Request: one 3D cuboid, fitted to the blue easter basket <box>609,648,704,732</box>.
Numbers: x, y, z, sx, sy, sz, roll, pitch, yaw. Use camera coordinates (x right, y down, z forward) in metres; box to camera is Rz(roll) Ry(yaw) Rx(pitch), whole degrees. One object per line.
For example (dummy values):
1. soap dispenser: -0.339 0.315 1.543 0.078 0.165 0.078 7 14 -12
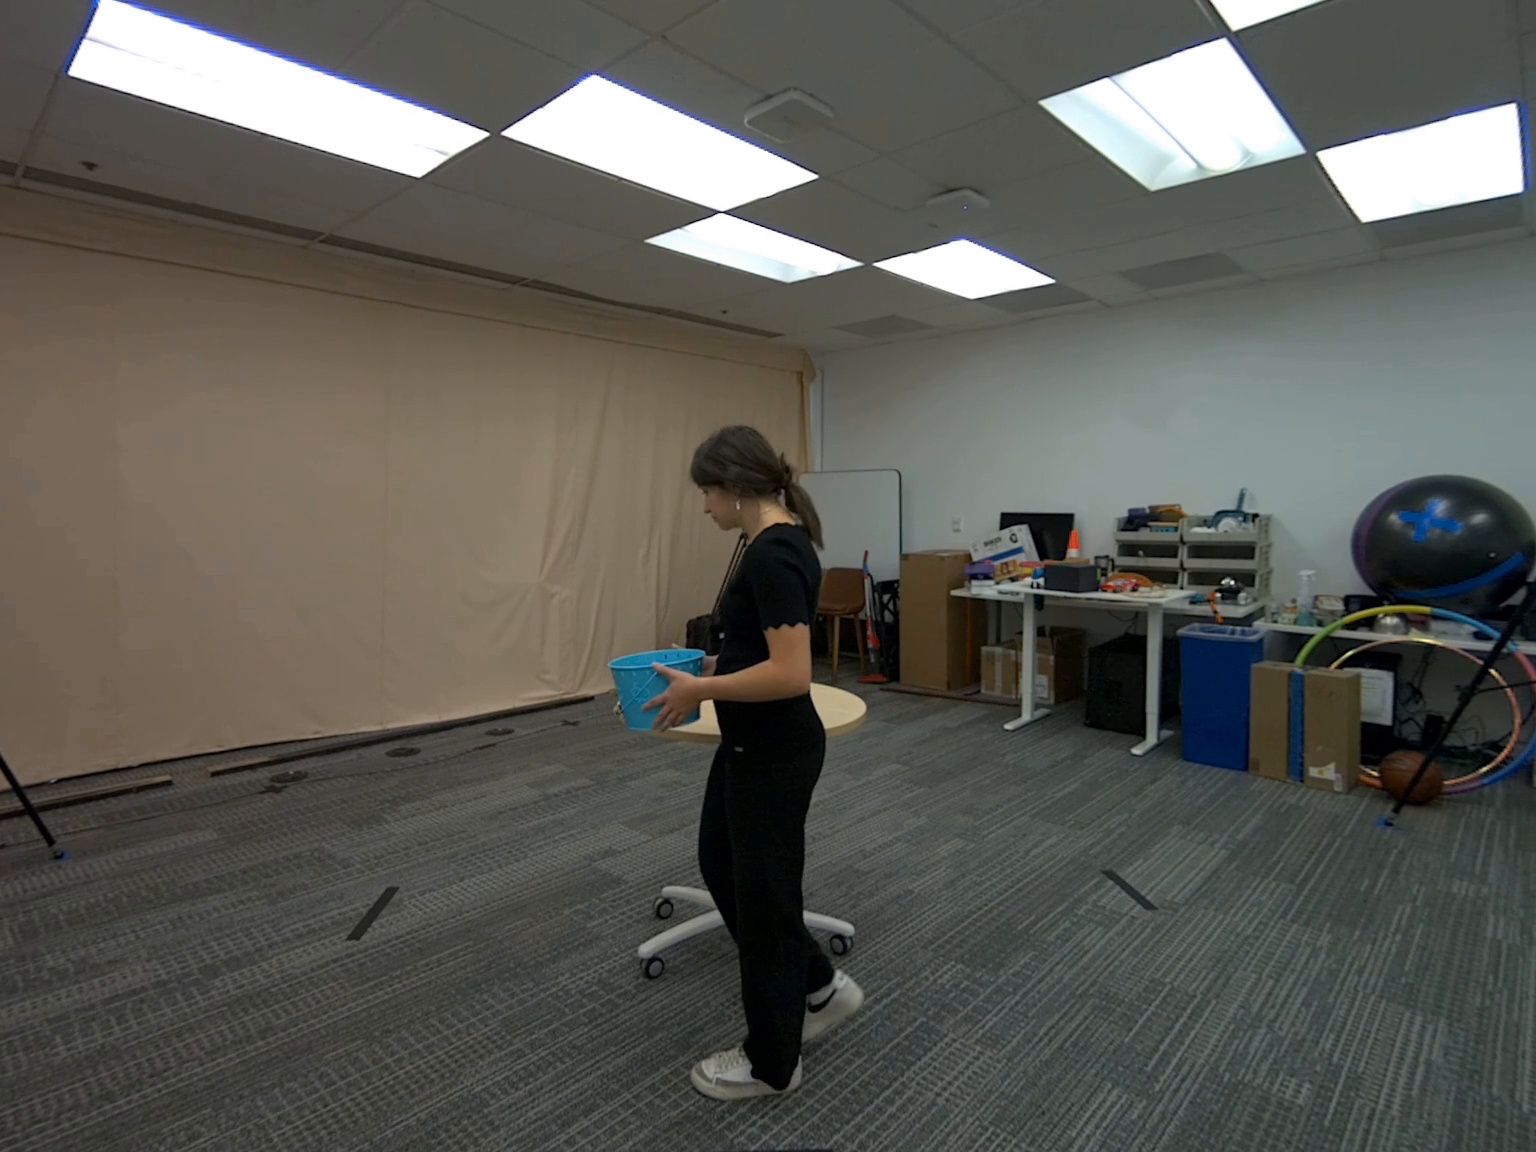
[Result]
1. blue easter basket: -0.258 0.276 2.008 0.243 0.155 0.244 -5 4 -2
